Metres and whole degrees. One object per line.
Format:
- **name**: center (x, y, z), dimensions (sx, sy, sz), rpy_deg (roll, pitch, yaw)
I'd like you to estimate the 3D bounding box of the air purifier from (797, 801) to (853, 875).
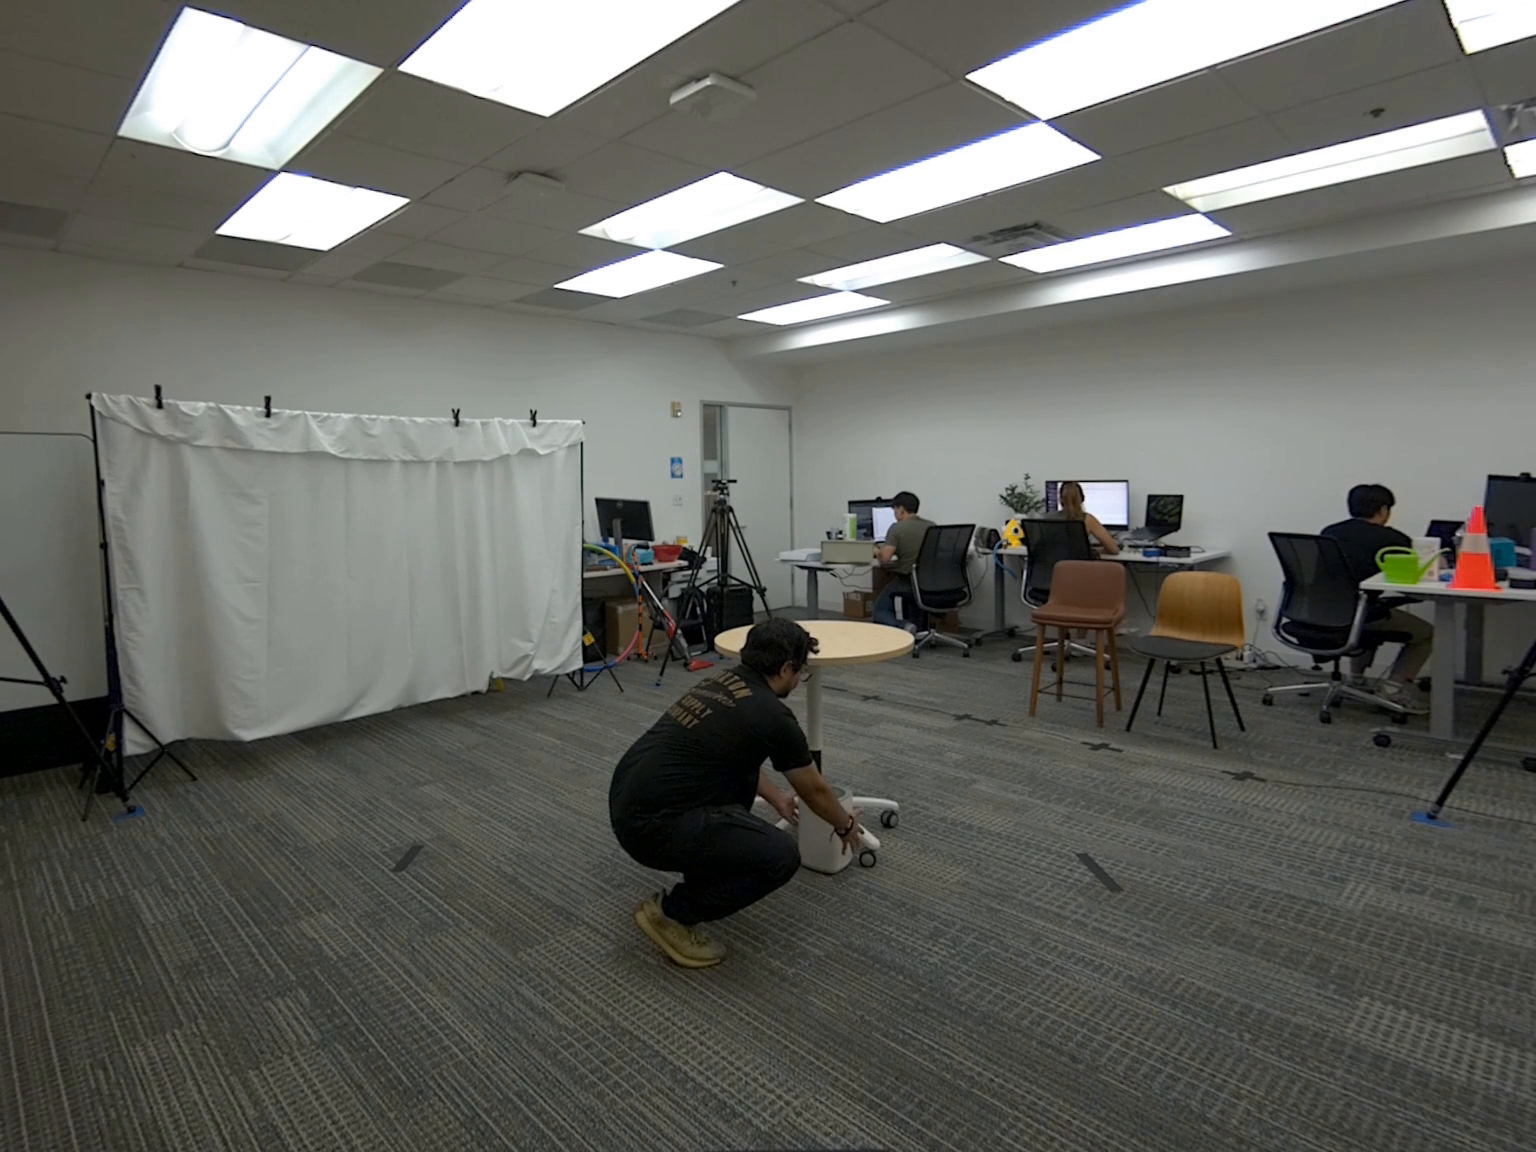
- **air purifier**: center (0.214, 0.911, 3.090), dimensions (0.175, 0.265, 0.167), rpy_deg (0, 3, 31)
